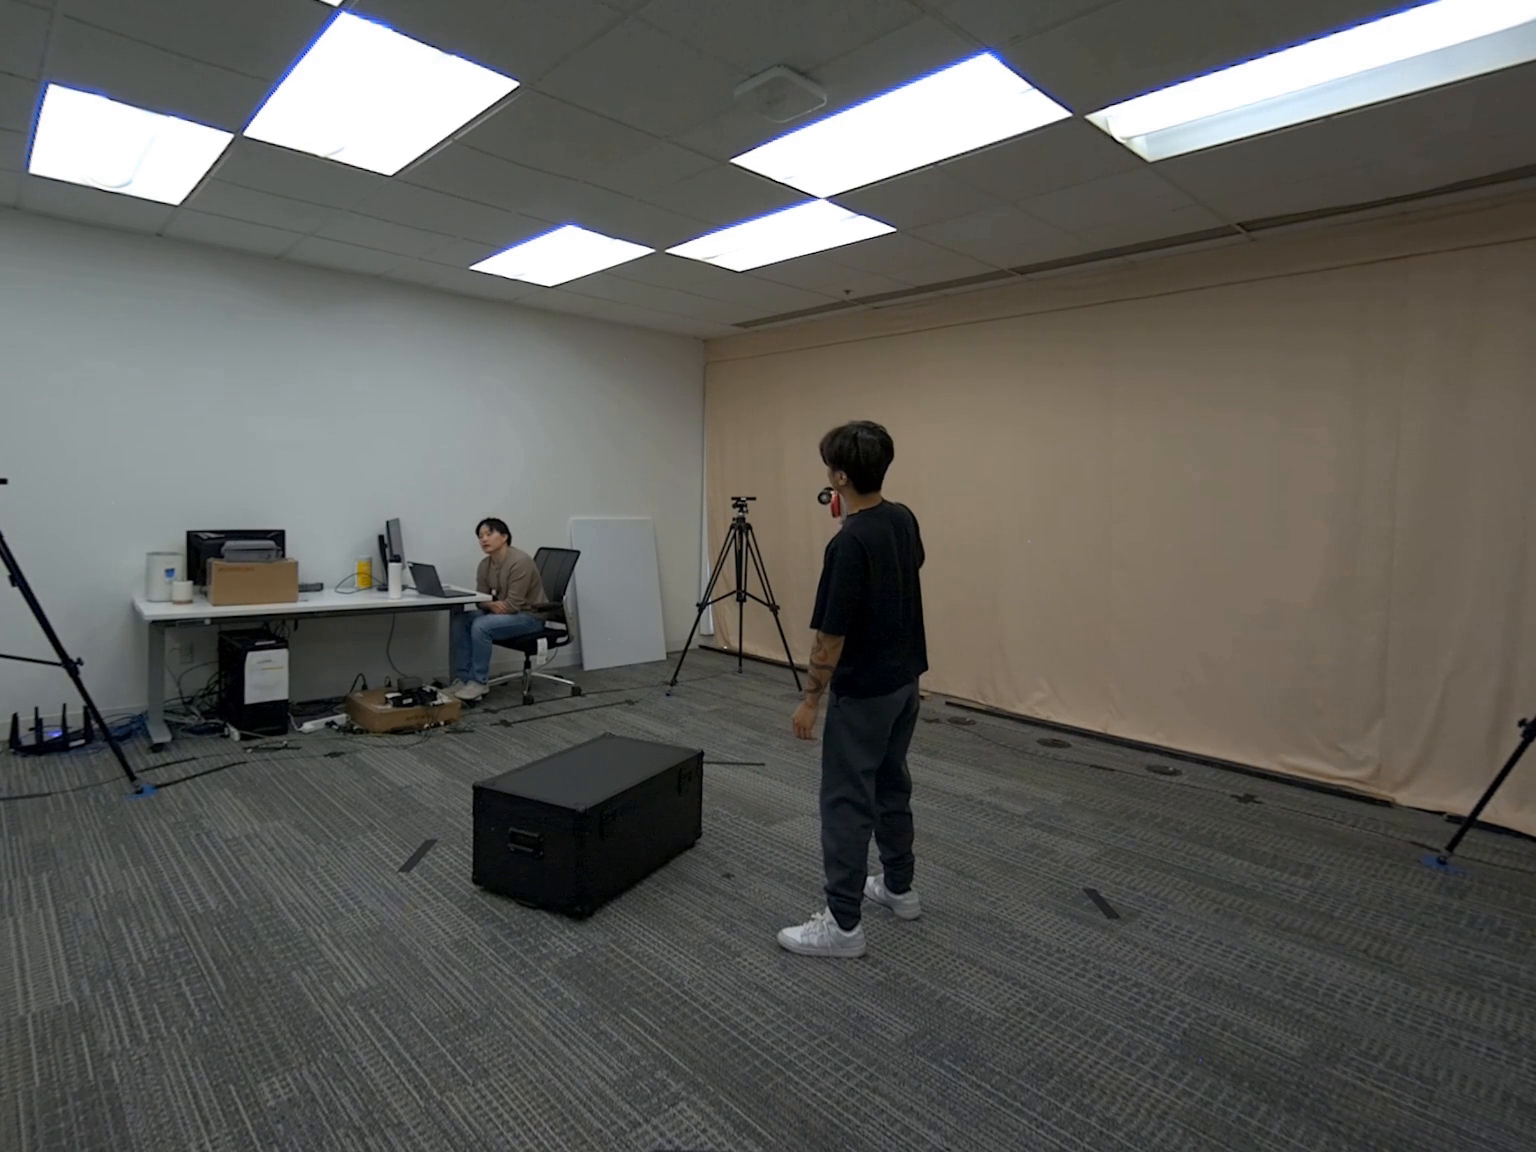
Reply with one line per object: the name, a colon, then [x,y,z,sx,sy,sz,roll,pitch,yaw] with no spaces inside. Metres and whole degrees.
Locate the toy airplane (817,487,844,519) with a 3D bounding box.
toy airplane: [0.292,-0.243,3.234,0.158,0.252,0.256,-16,39,17]
